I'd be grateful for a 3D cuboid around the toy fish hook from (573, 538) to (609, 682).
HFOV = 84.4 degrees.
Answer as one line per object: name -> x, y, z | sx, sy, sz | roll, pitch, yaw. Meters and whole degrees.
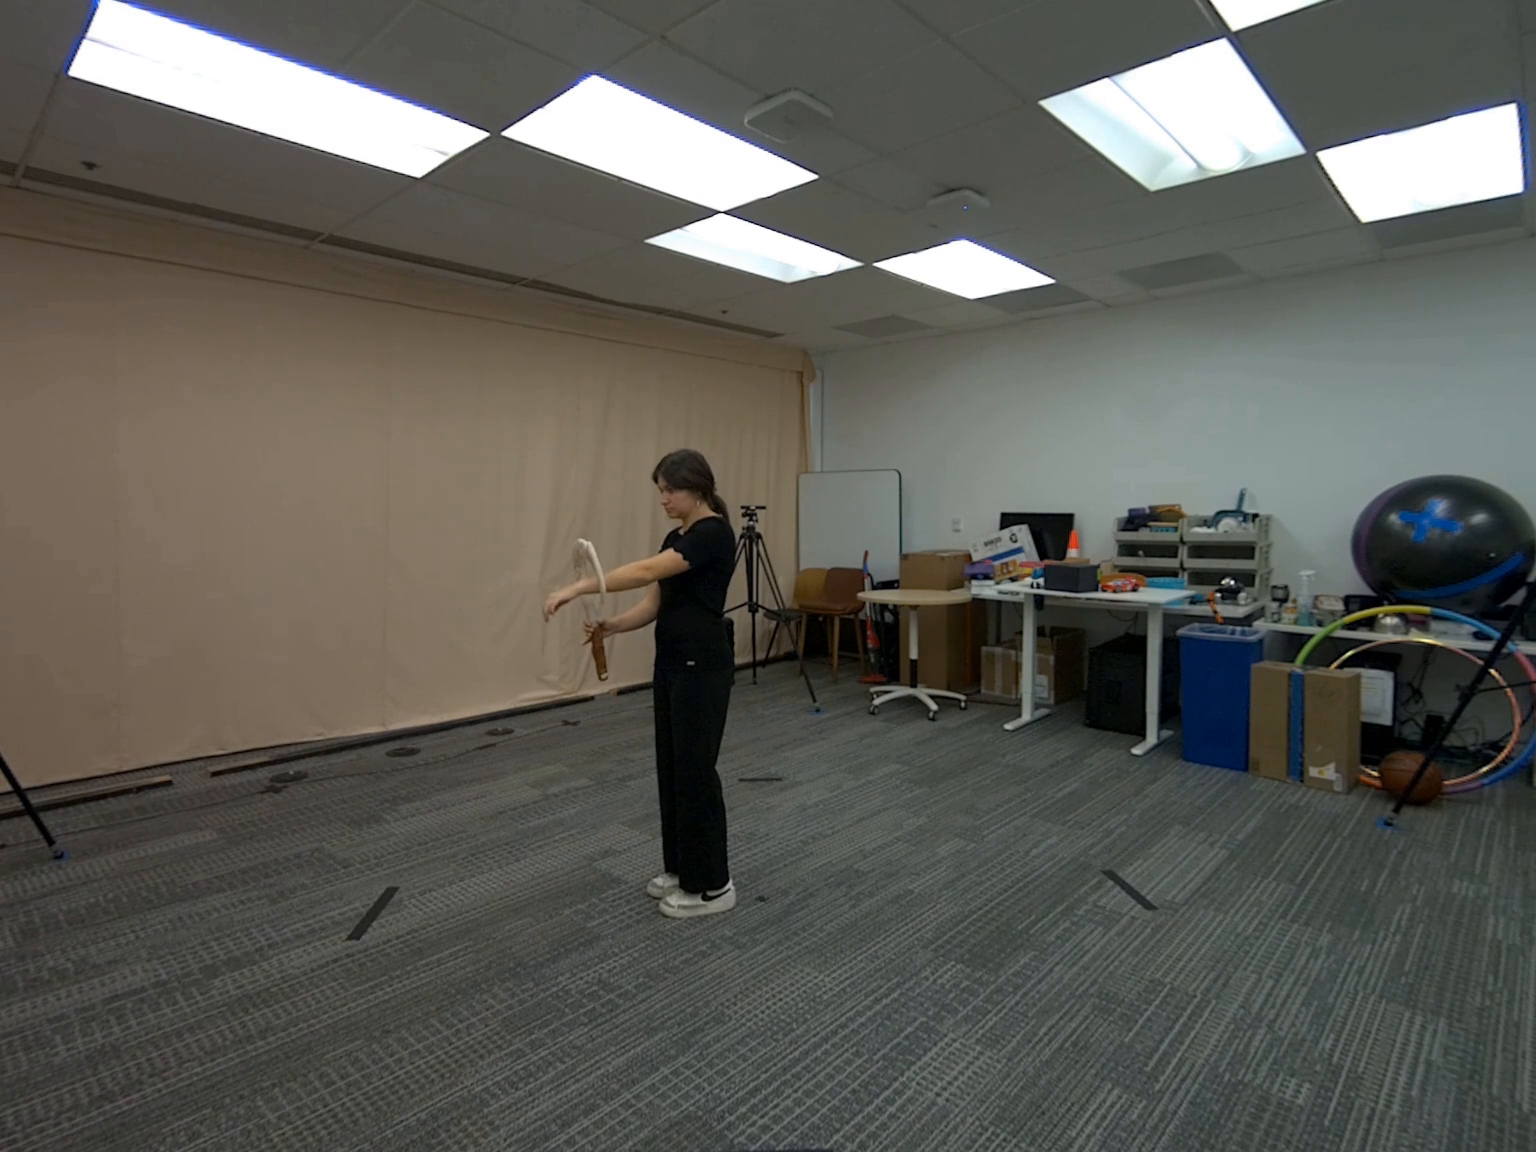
toy fish hook -> -0.567, 0.136, 2.766 | 0.047, 0.501, 0.231 | -14, 16, -24
